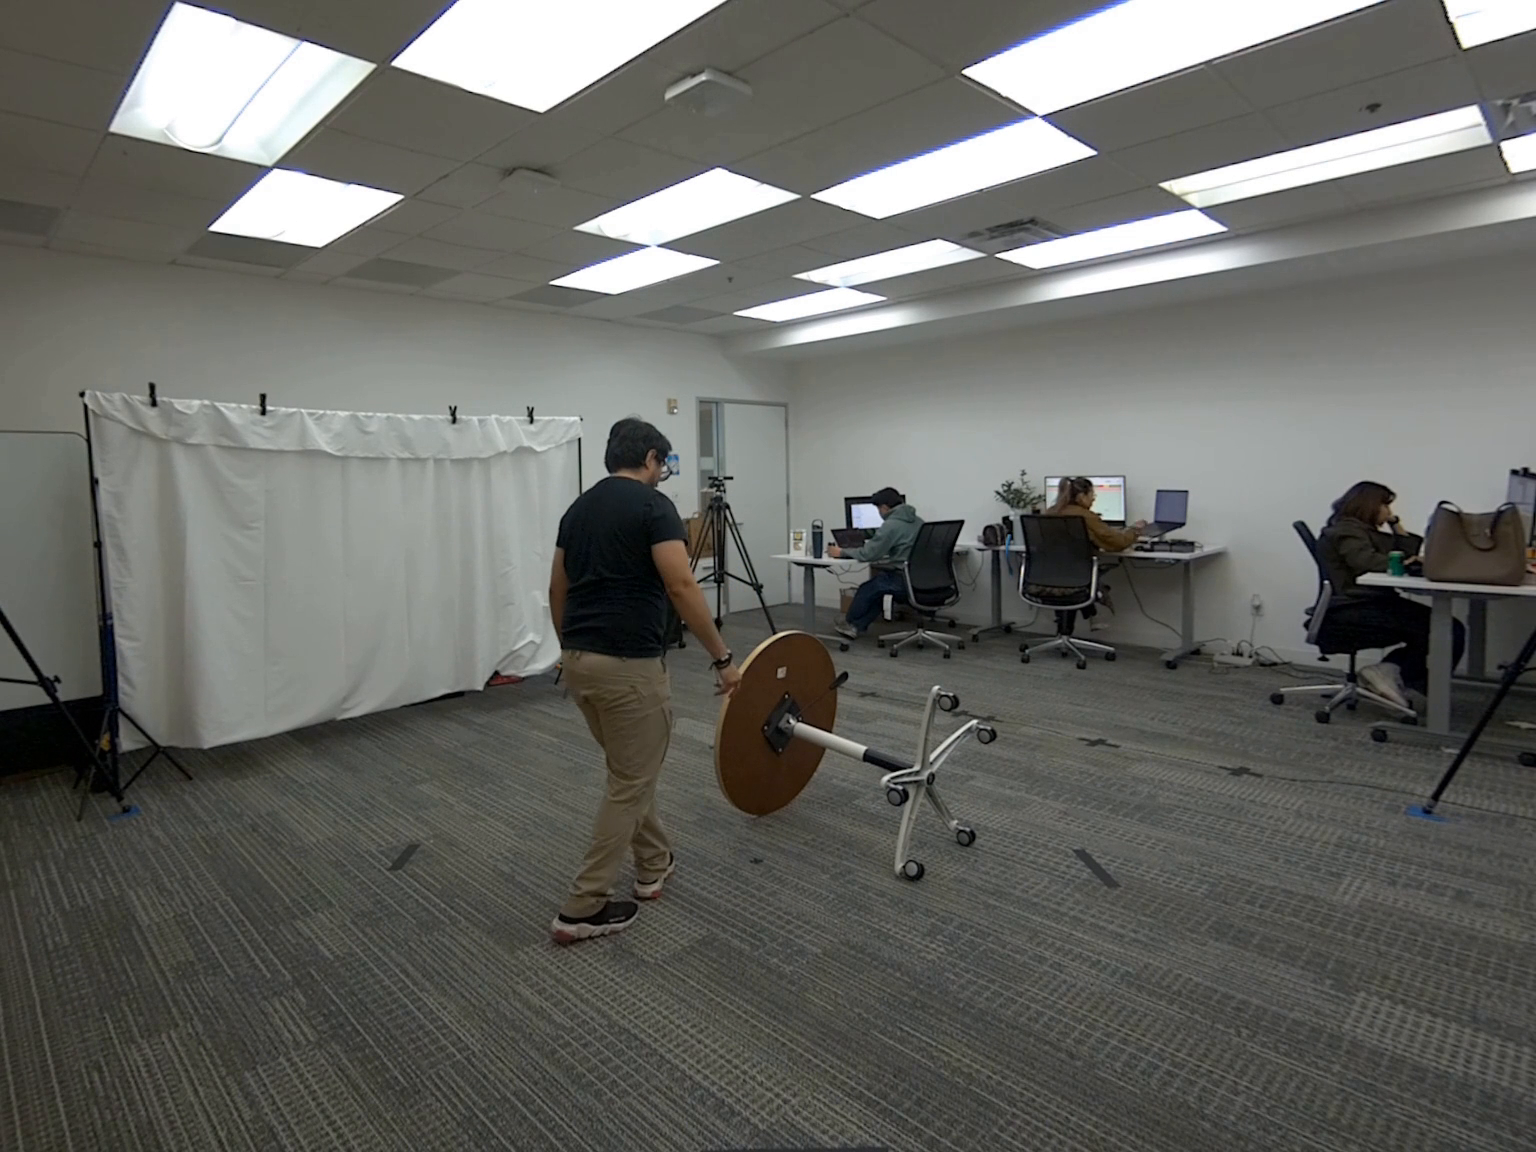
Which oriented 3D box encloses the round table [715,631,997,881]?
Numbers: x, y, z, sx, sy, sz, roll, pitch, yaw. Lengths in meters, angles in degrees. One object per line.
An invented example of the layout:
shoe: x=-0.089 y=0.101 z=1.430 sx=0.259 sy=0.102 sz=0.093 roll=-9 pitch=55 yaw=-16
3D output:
round table: x=0.350 y=0.661 z=3.272 sx=0.813 sy=0.779 sz=0.765 roll=11 pitch=12 yaw=40
